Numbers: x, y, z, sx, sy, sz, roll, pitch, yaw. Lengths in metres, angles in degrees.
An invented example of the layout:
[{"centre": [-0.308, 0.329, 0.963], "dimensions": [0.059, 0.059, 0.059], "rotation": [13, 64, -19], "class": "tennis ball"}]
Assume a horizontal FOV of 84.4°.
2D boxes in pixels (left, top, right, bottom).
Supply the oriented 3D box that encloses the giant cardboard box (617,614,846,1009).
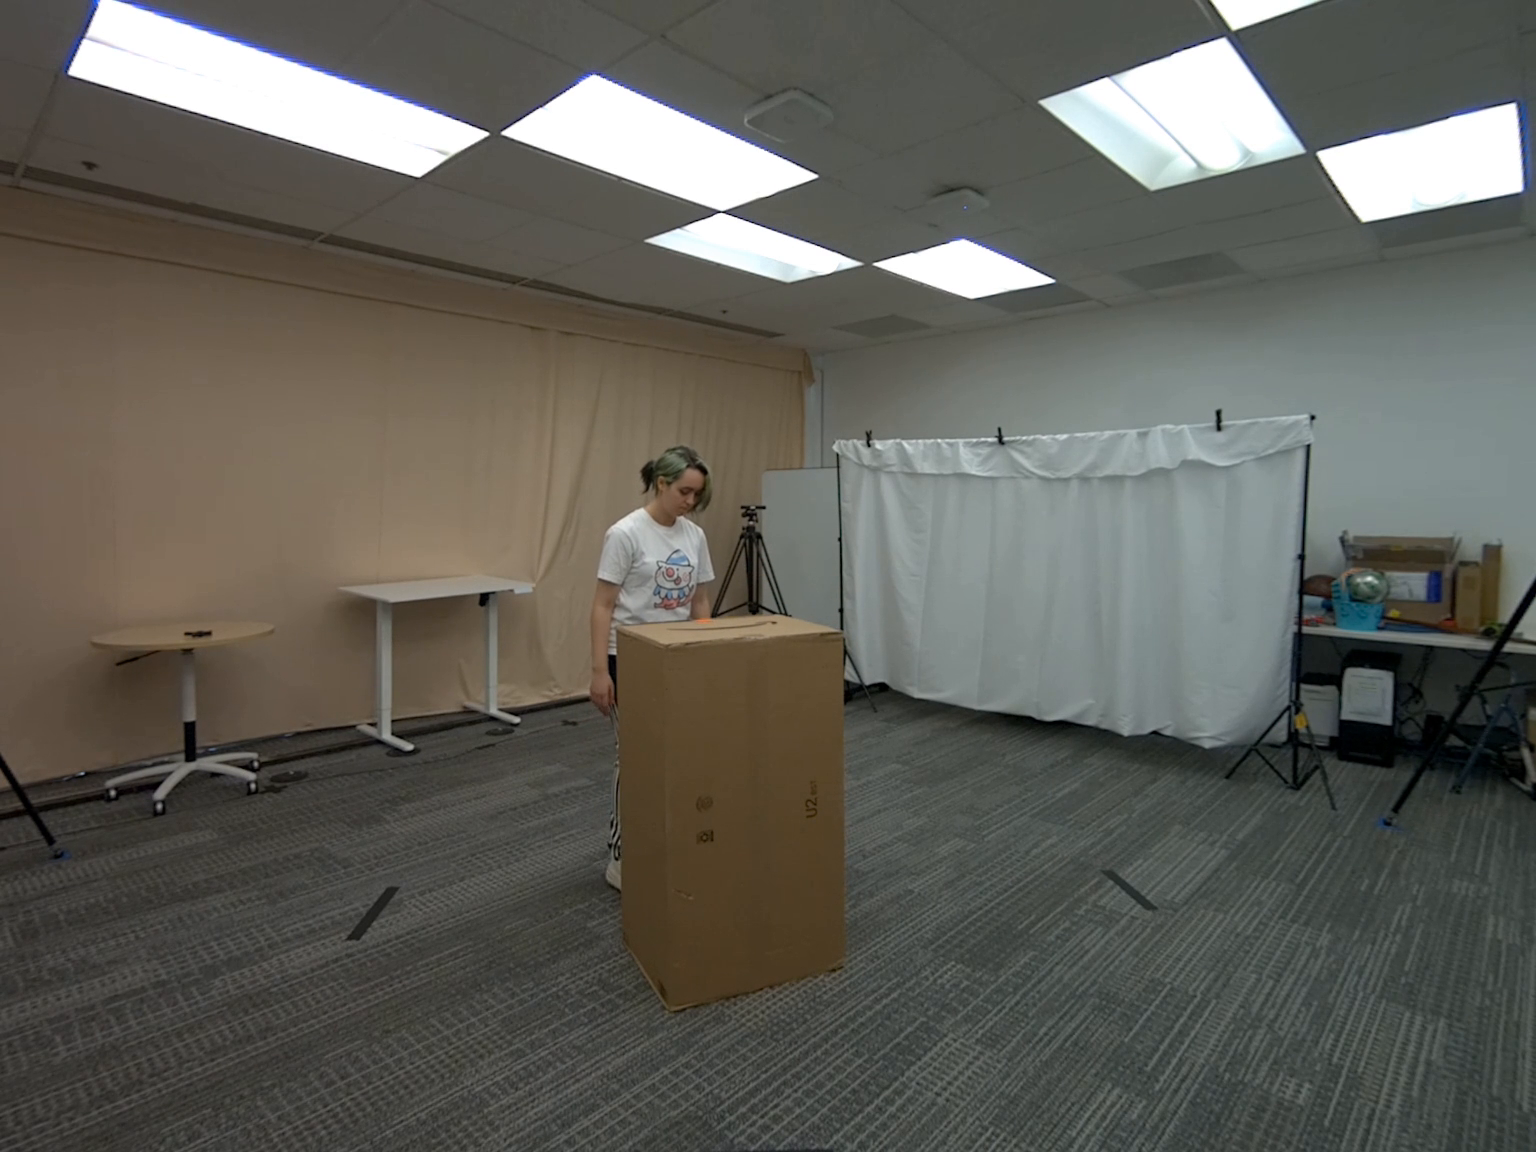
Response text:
[{"centre": [-0.117, 0.668, 2.588], "dimensions": [0.564, 1.023, 0.437], "rotation": [-2, 4, -26], "class": "giant cardboard box"}]
